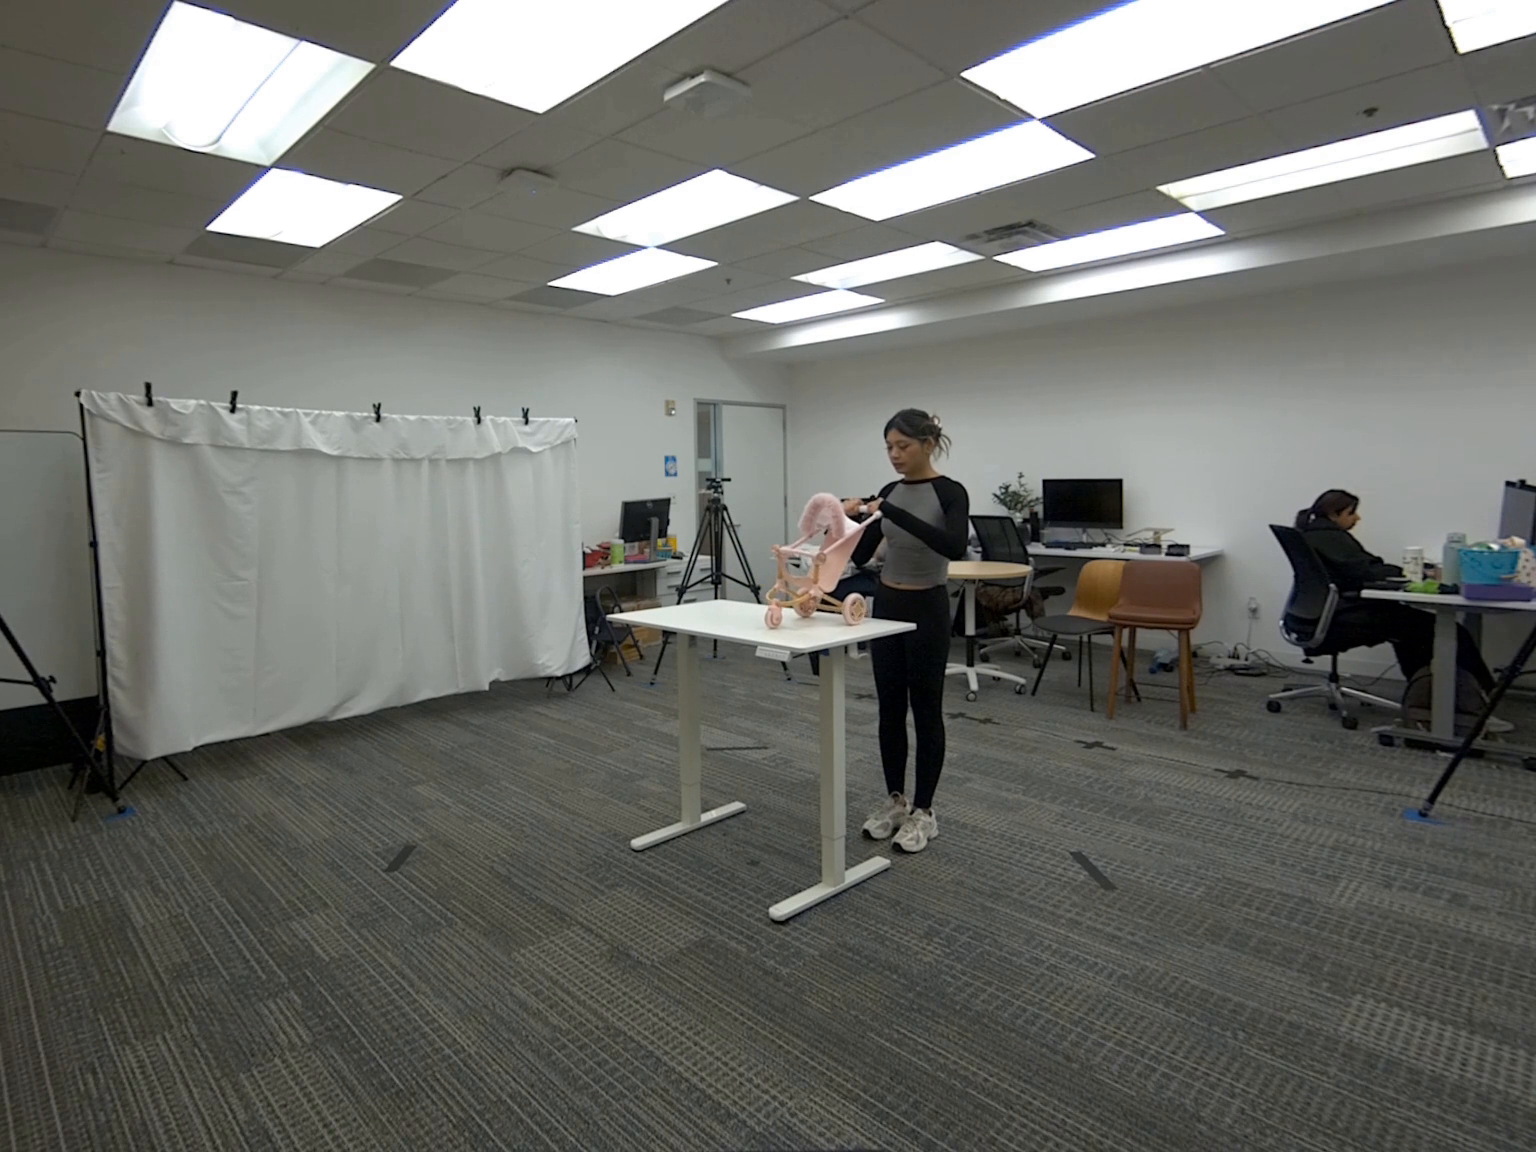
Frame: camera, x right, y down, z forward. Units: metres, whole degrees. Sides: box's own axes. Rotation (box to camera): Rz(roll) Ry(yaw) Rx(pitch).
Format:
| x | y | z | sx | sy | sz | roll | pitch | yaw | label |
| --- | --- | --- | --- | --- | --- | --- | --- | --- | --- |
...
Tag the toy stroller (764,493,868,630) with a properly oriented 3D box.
| x | y | z | sx | sy | sz | roll | pitch | yaw | label |
| --- | --- | --- | --- | --- | --- | --- | --- | --- | --- |
| 0.174 | -0.055 | 2.994 | 0.330 | 0.537 | 0.289 | 17 | -7 | -34 | toy stroller |
